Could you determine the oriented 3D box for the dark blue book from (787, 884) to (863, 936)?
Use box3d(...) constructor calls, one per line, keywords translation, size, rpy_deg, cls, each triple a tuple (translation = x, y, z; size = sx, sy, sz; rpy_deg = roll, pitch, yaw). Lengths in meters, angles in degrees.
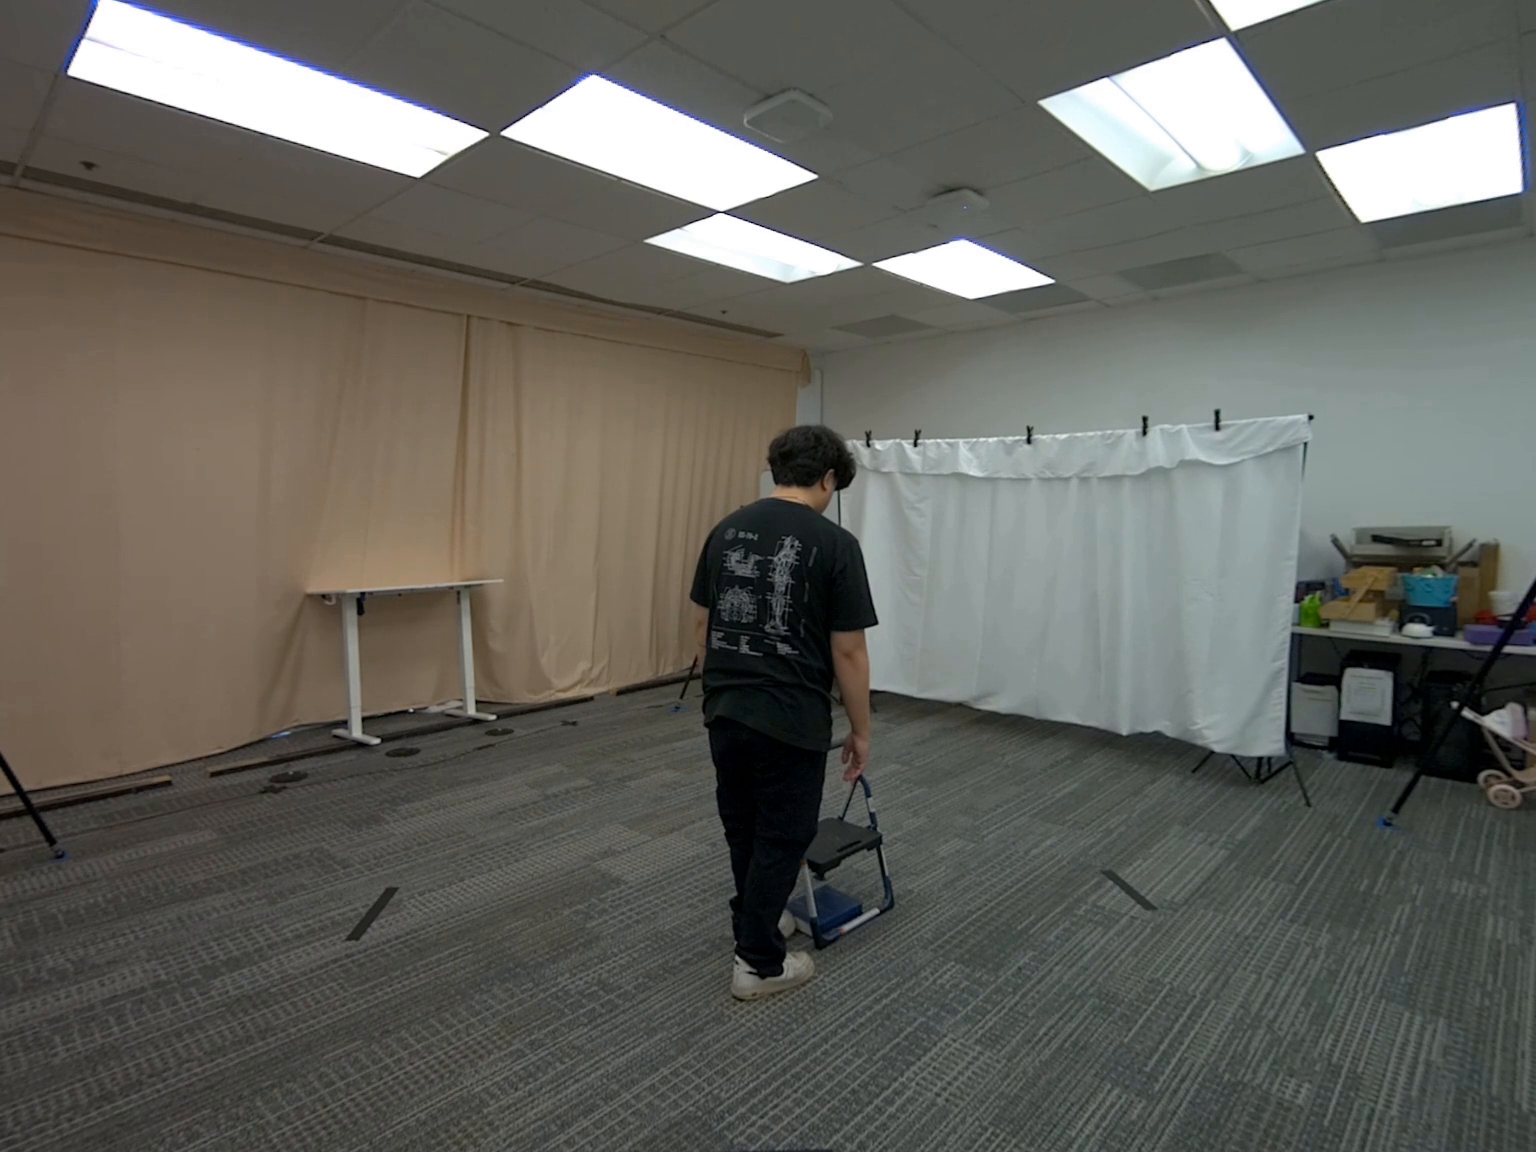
box3d(translation=(0.186, 1.138, 2.835), size=(0.238, 0.045, 0.169), rpy_deg=(-5, 9, -44), cls="dark blue book")
